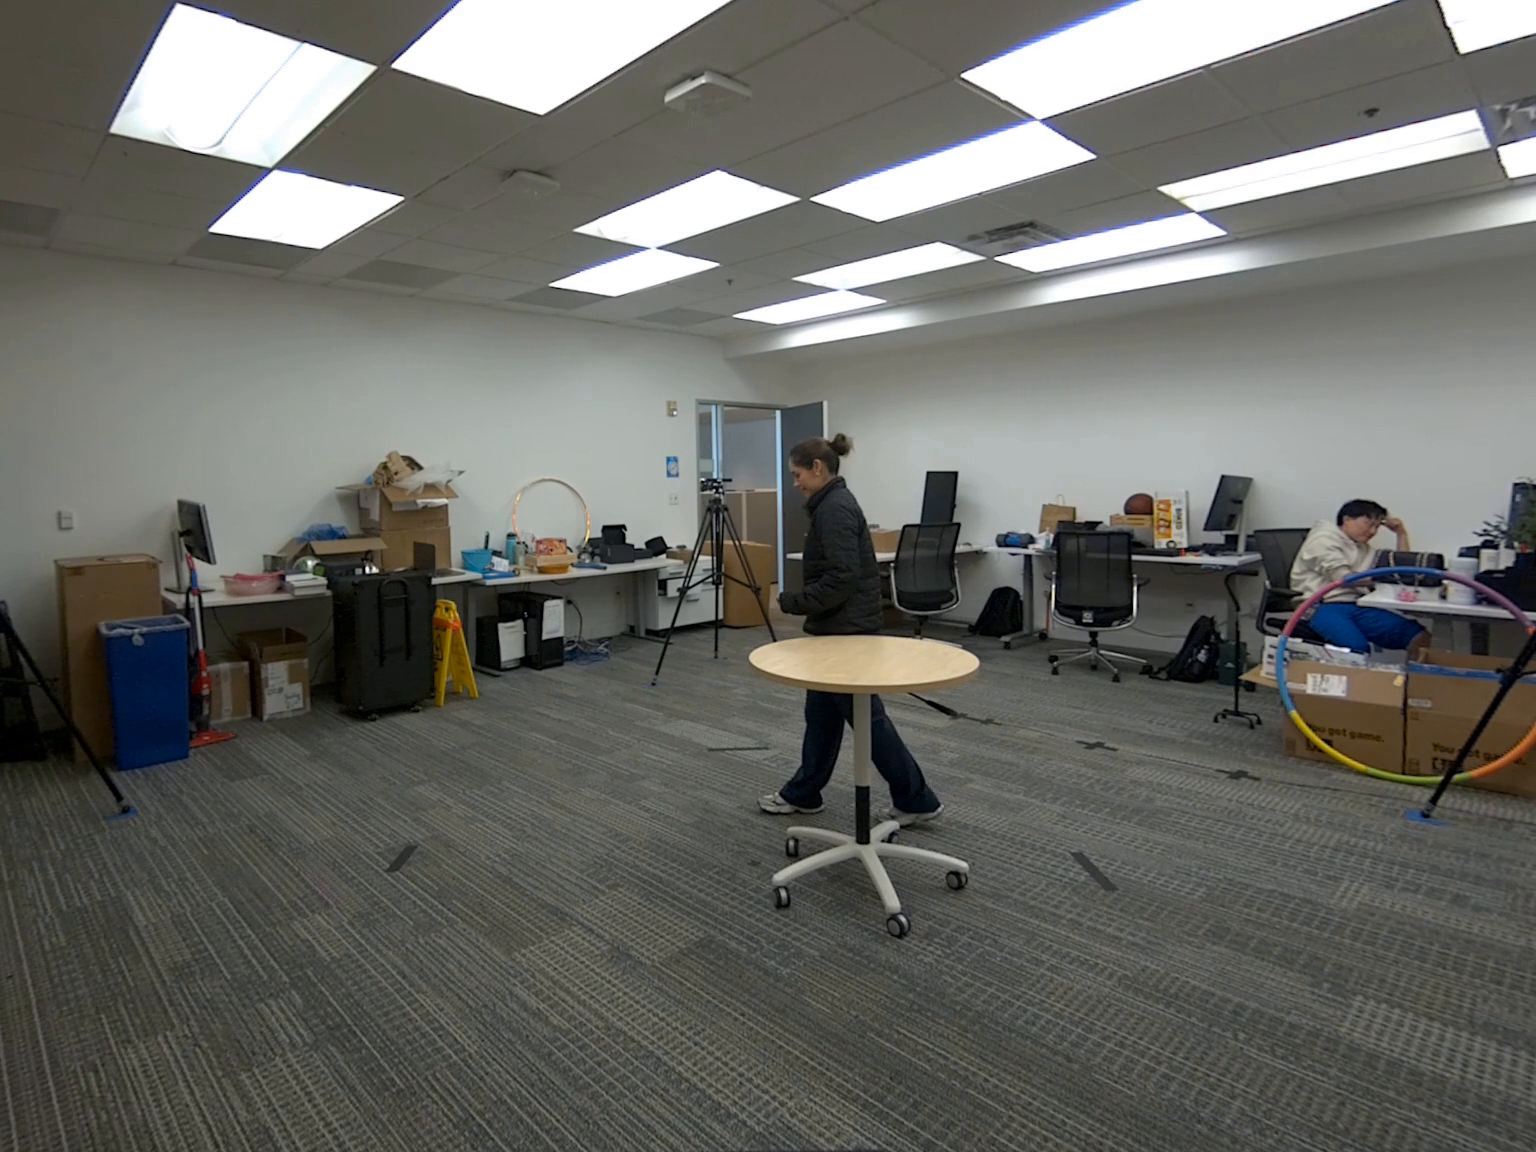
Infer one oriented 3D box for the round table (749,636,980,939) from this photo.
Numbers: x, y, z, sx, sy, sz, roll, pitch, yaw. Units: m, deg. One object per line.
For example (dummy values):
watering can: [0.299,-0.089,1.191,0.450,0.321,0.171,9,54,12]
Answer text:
round table: [0.314,0.662,2.951,0.784,0.783,0.789,0,5,-2]
